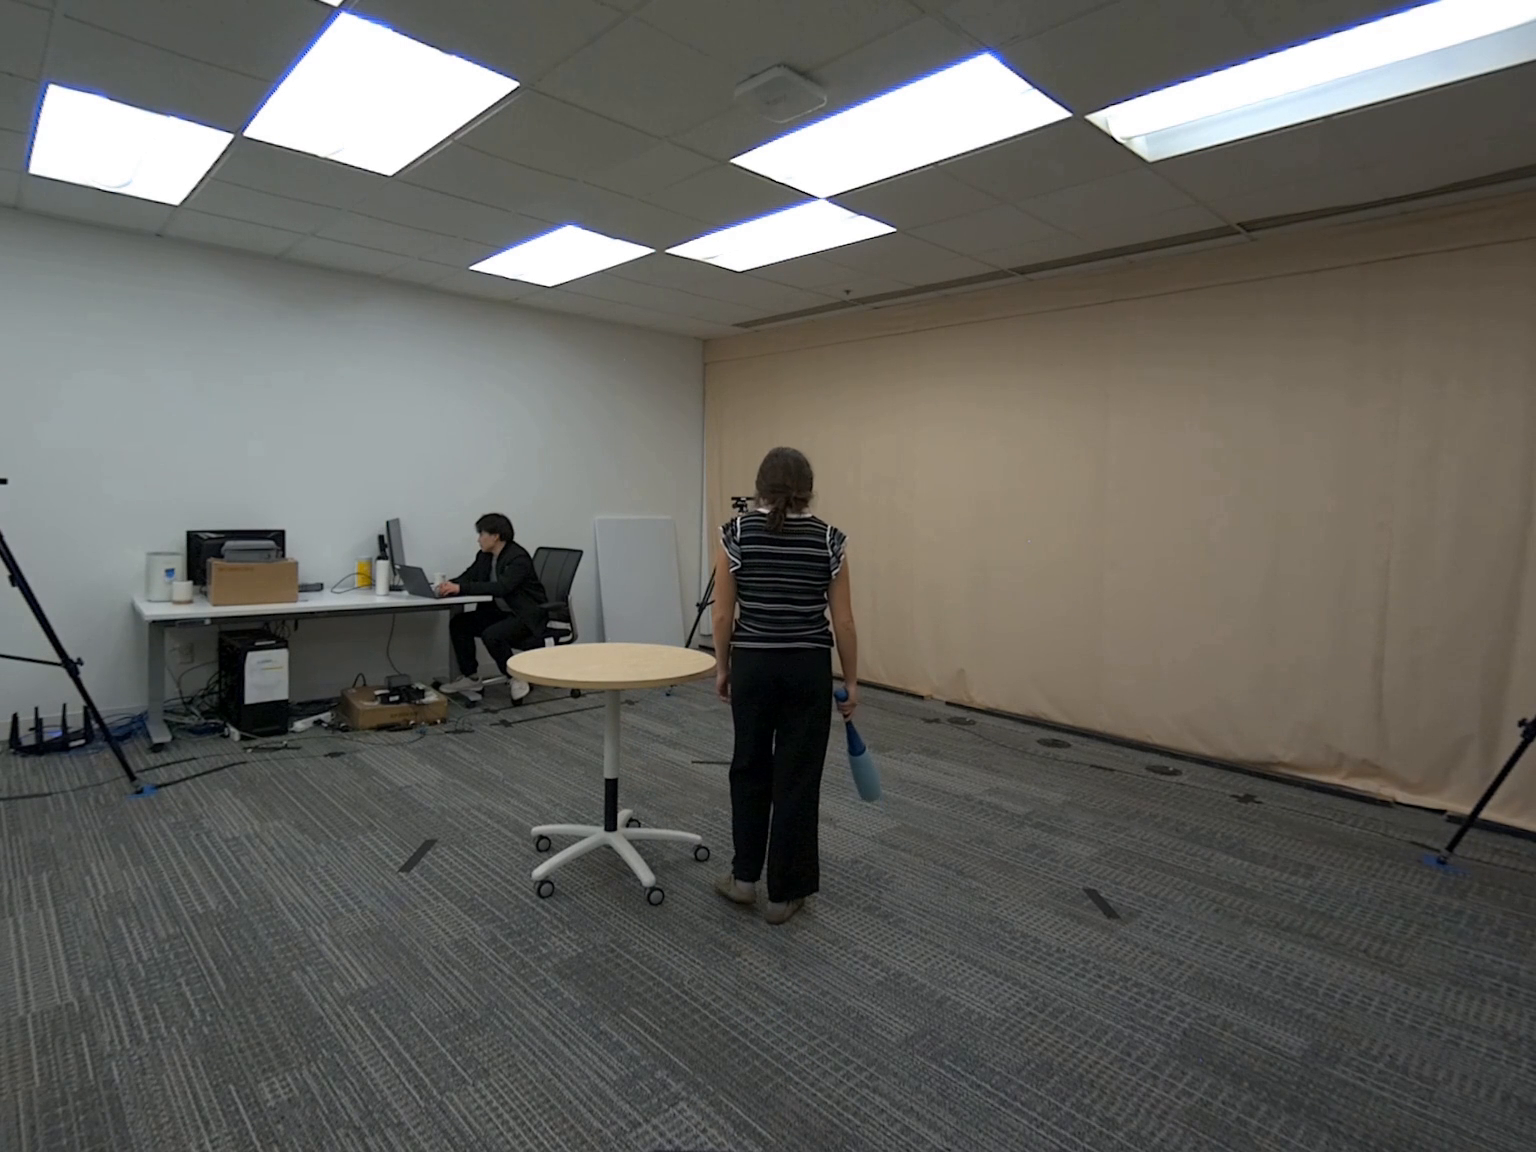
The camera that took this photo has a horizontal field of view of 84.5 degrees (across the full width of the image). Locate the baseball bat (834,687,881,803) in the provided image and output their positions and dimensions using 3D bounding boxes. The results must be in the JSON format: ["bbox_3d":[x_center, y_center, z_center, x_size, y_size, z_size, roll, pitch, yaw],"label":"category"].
[{"bbox_3d":[0.297,0.600,3.010,0.089,0.530,0.091,-12,32,6],"label":"baseball bat"}]
